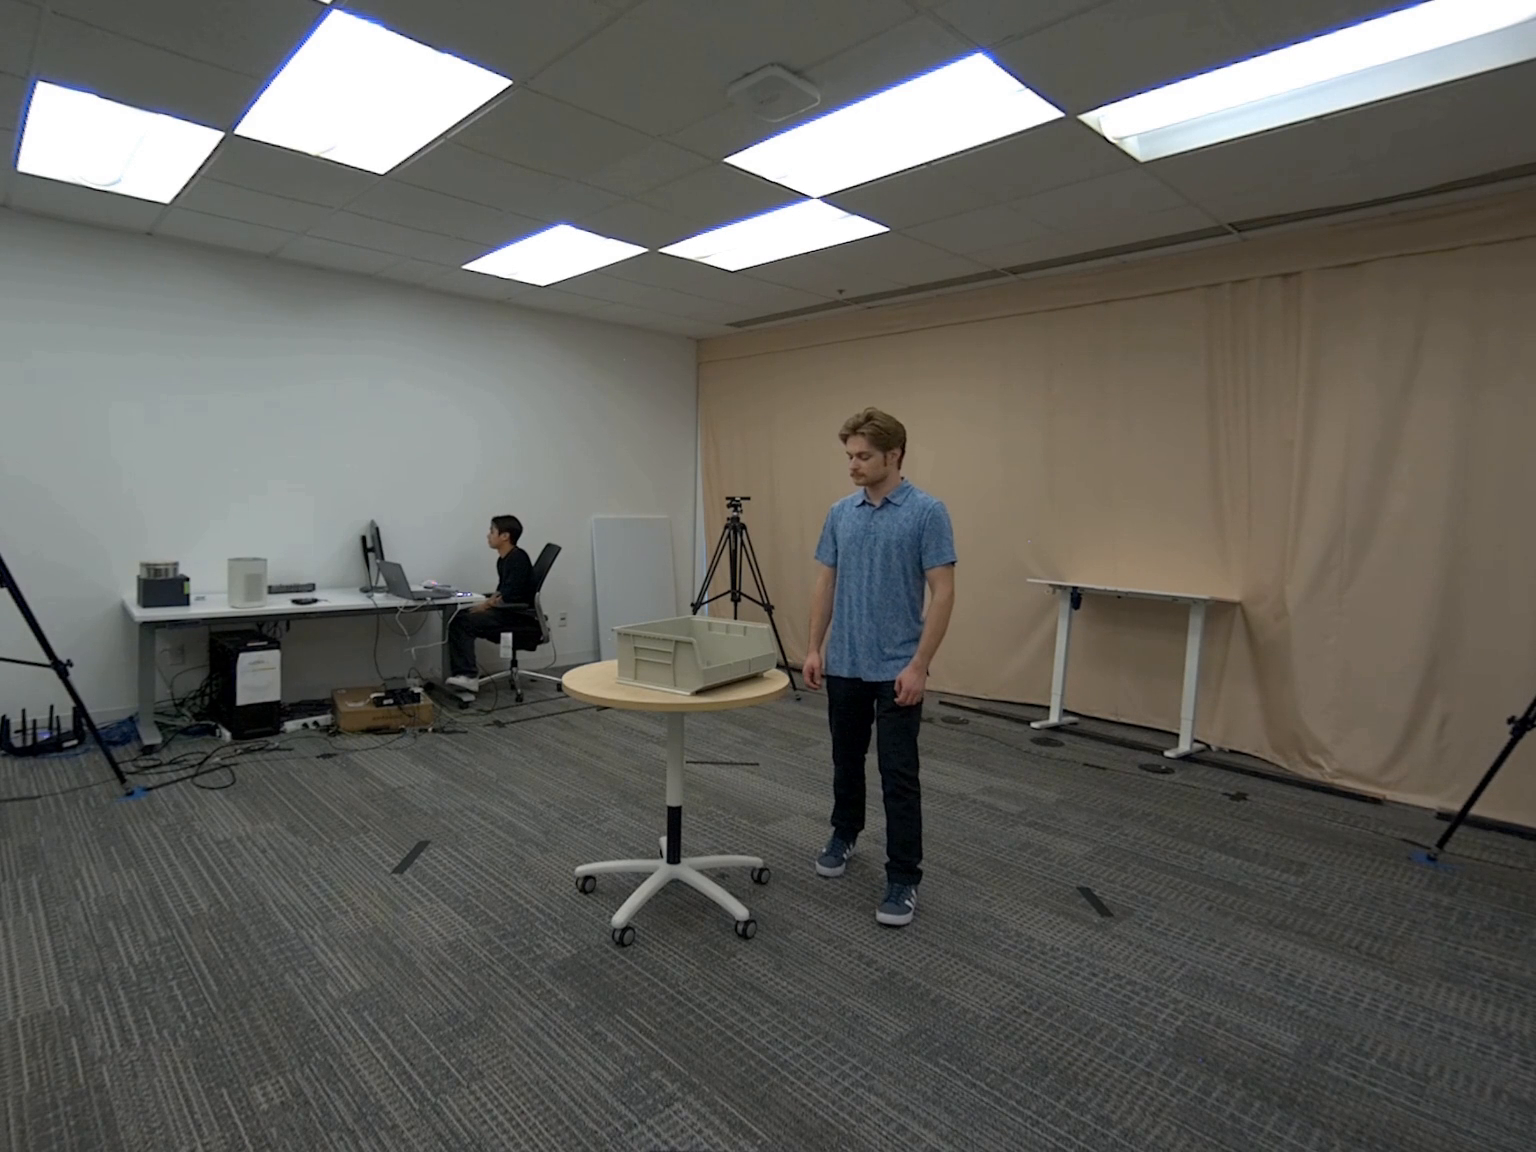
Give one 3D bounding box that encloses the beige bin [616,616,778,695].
[{"bbox_3d":[-0.241,0.262,2.799,0.386,0.188,0.414,3,5,34],"label":"beige bin"}]
